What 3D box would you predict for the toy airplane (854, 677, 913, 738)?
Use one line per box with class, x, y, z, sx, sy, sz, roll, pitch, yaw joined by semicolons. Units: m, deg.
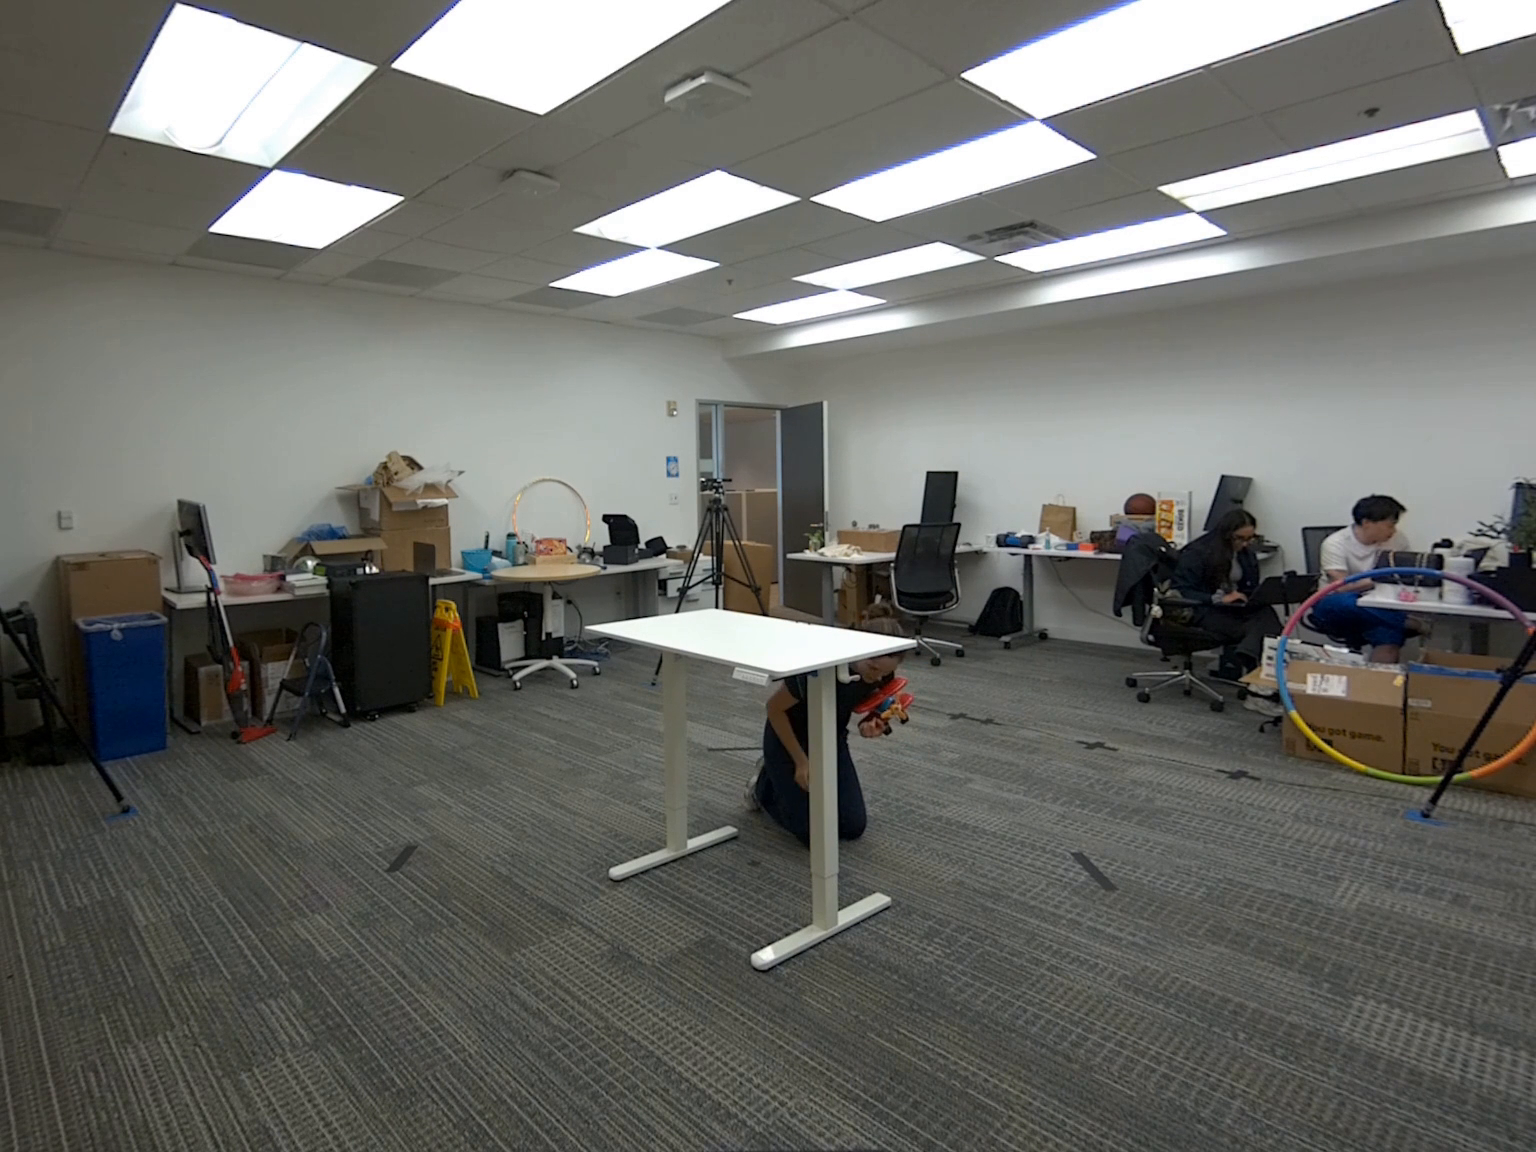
toy airplane;0.413;0.506;3.355;0.267;0.152;0.251;4;36;35
